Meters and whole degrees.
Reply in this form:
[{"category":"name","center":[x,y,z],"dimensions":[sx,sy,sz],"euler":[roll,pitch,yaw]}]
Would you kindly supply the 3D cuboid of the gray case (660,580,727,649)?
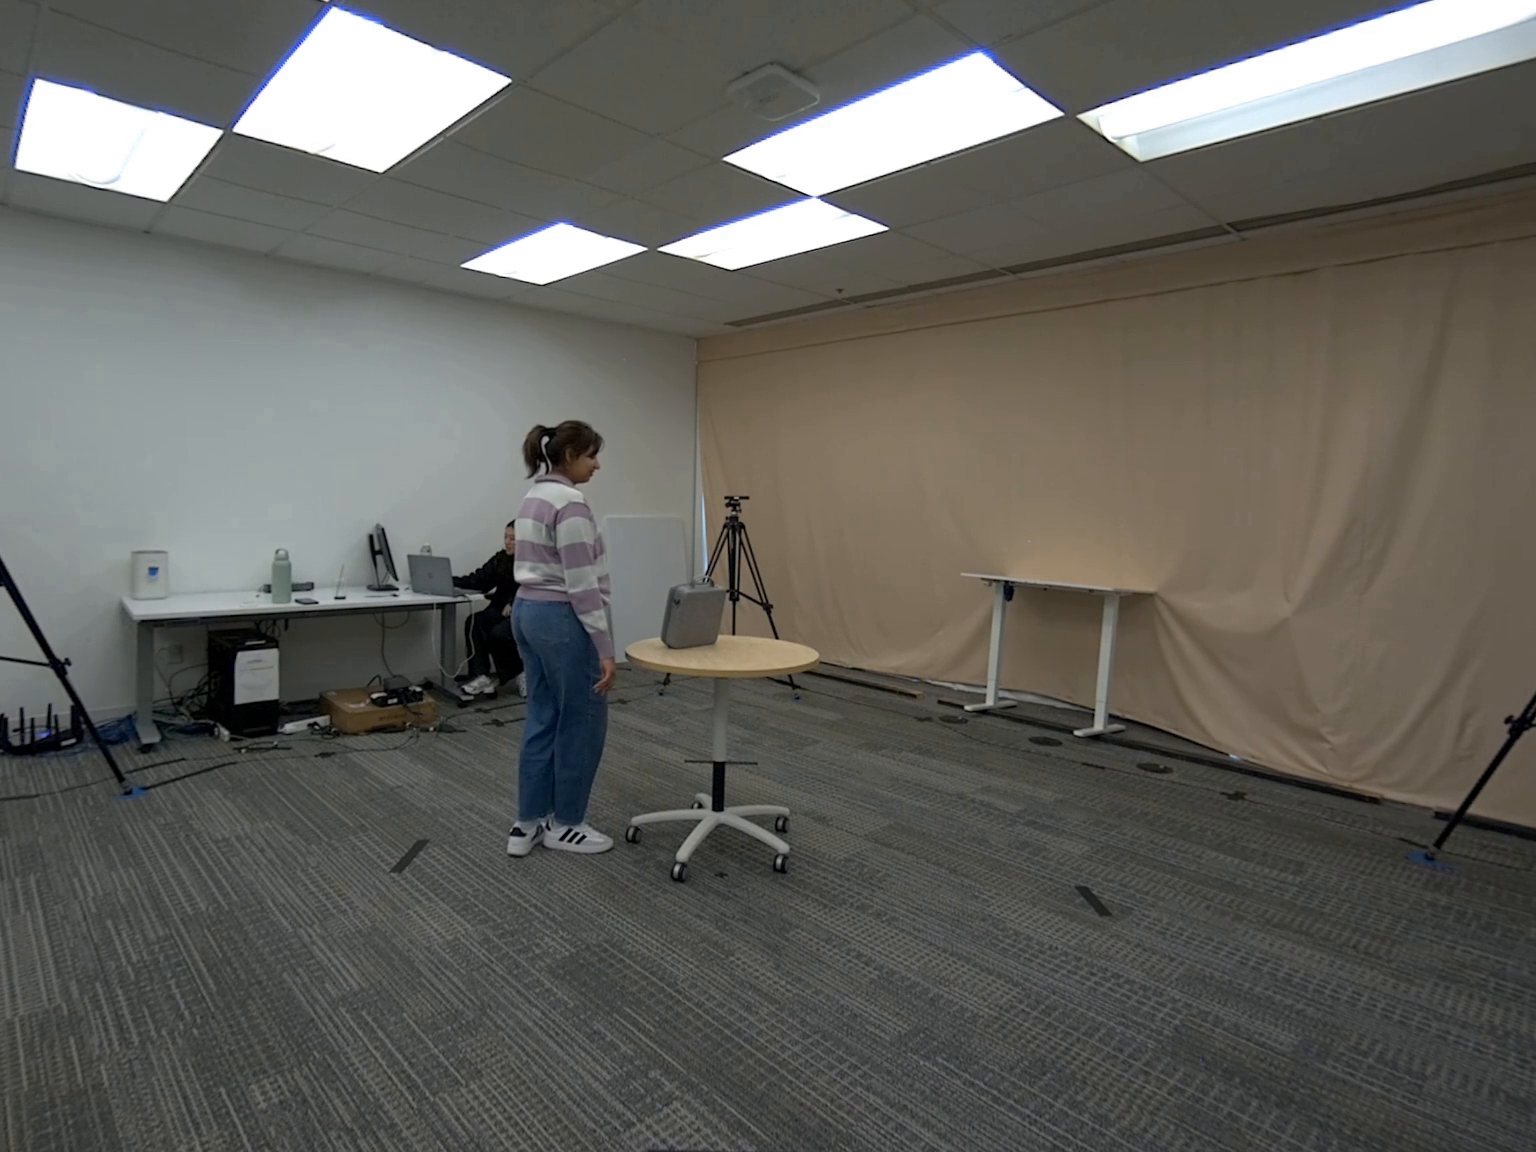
[{"category":"gray case","center":[-0.306,0.154,3.417],"dimensions":[0.107,0.259,0.251],"euler":[21,16,39]}]
